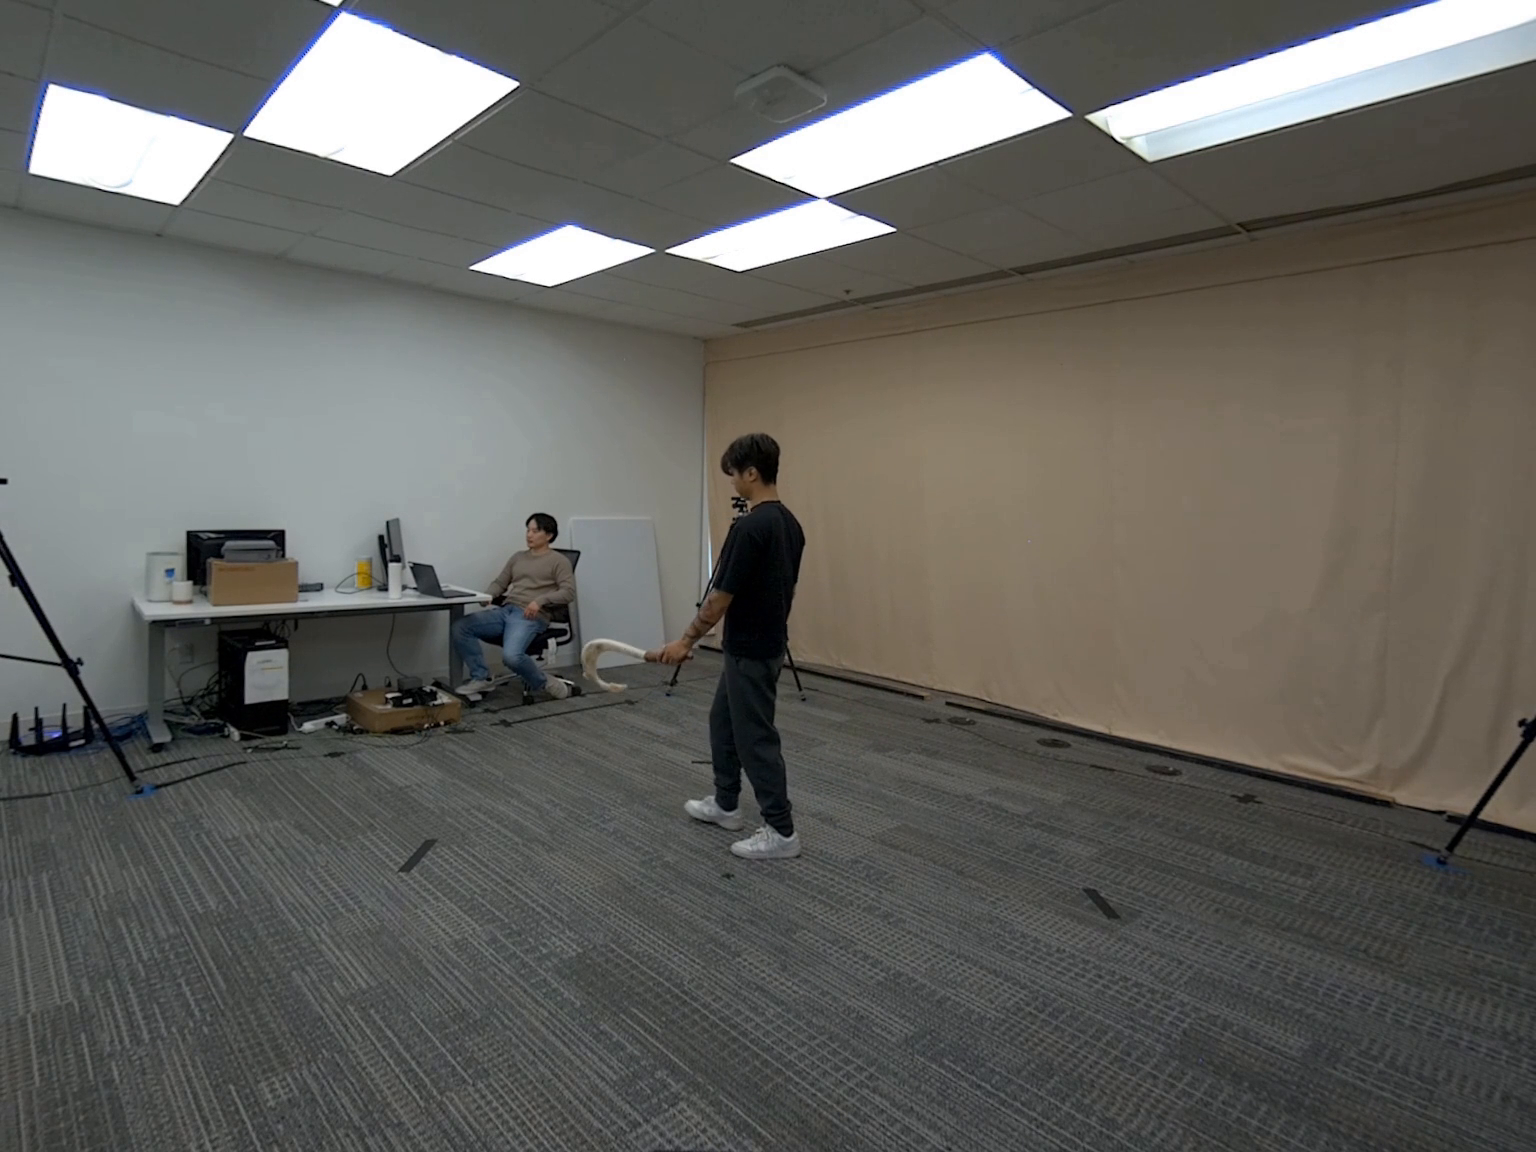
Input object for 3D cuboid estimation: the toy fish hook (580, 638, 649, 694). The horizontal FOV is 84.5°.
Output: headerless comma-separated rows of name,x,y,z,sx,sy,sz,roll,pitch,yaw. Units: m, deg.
toy fish hook,-0.518,0.362,3.366,0.515,0.222,0.048,0,17,23
